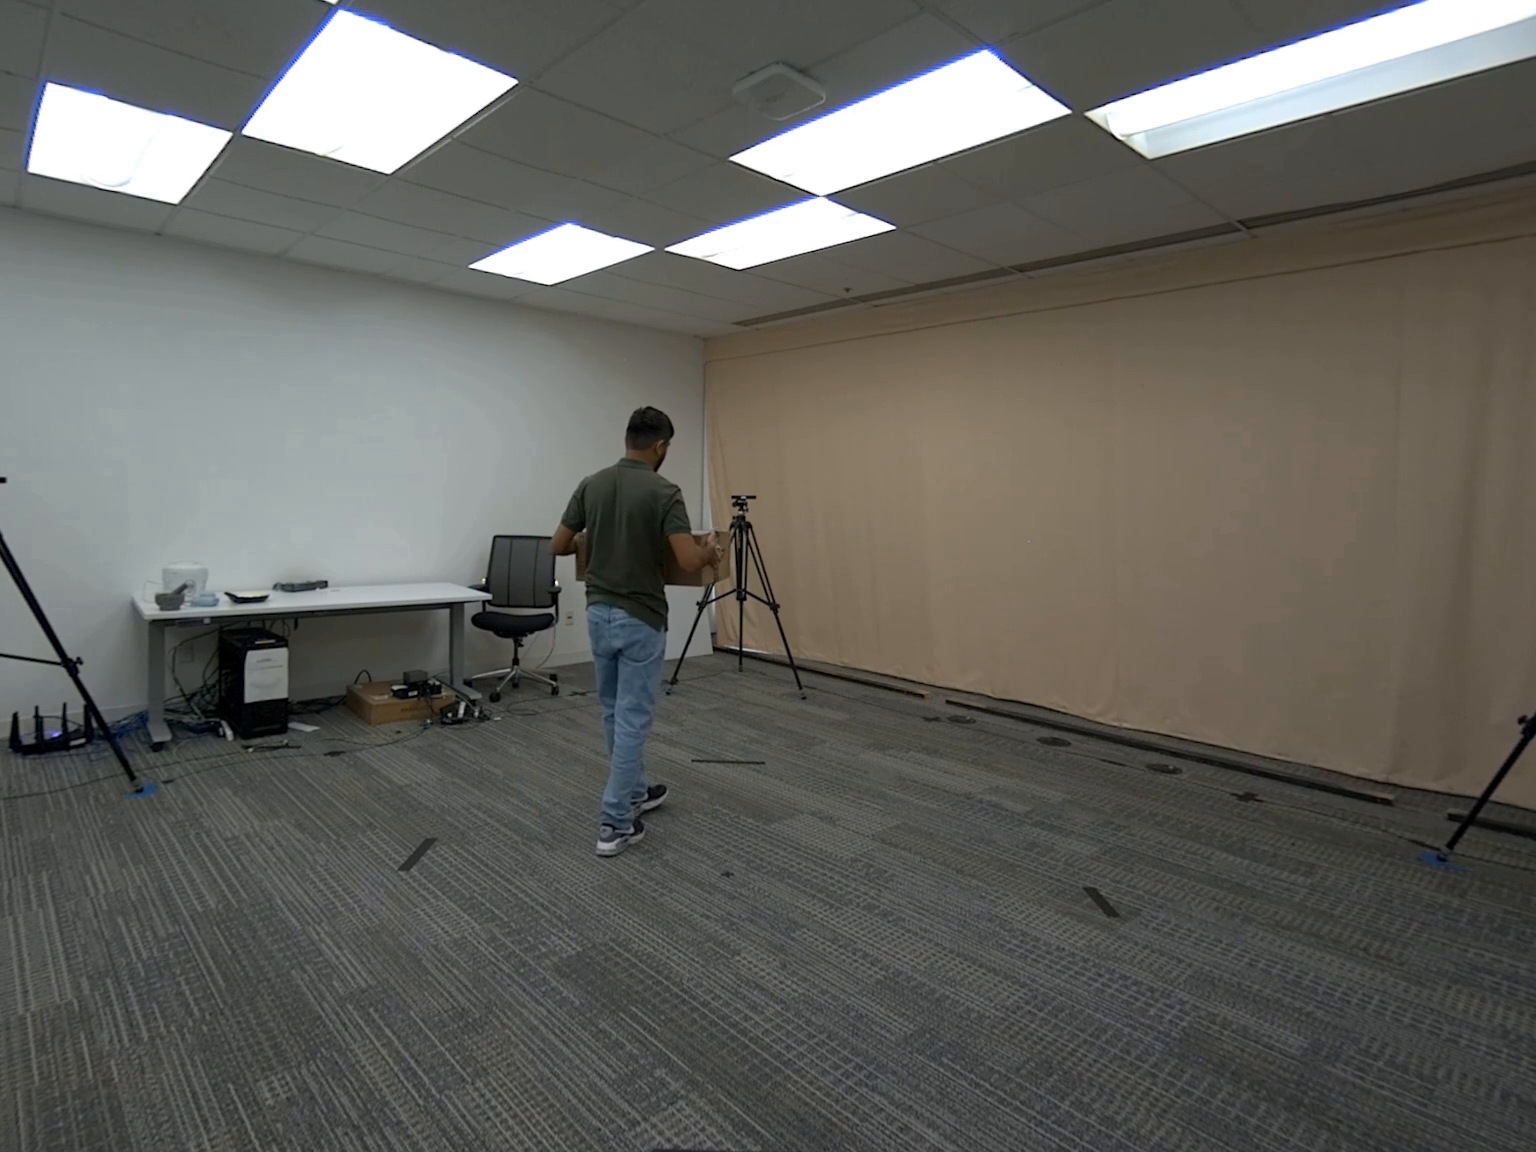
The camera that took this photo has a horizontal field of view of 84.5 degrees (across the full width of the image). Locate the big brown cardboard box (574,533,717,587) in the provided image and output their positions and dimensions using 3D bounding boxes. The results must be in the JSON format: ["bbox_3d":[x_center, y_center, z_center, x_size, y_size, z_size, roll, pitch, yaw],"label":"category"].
[{"bbox_3d":[-0.491,-0.091,3.686,0.596,0.232,0.414,2,6,14],"label":"big brown cardboard box"}]
